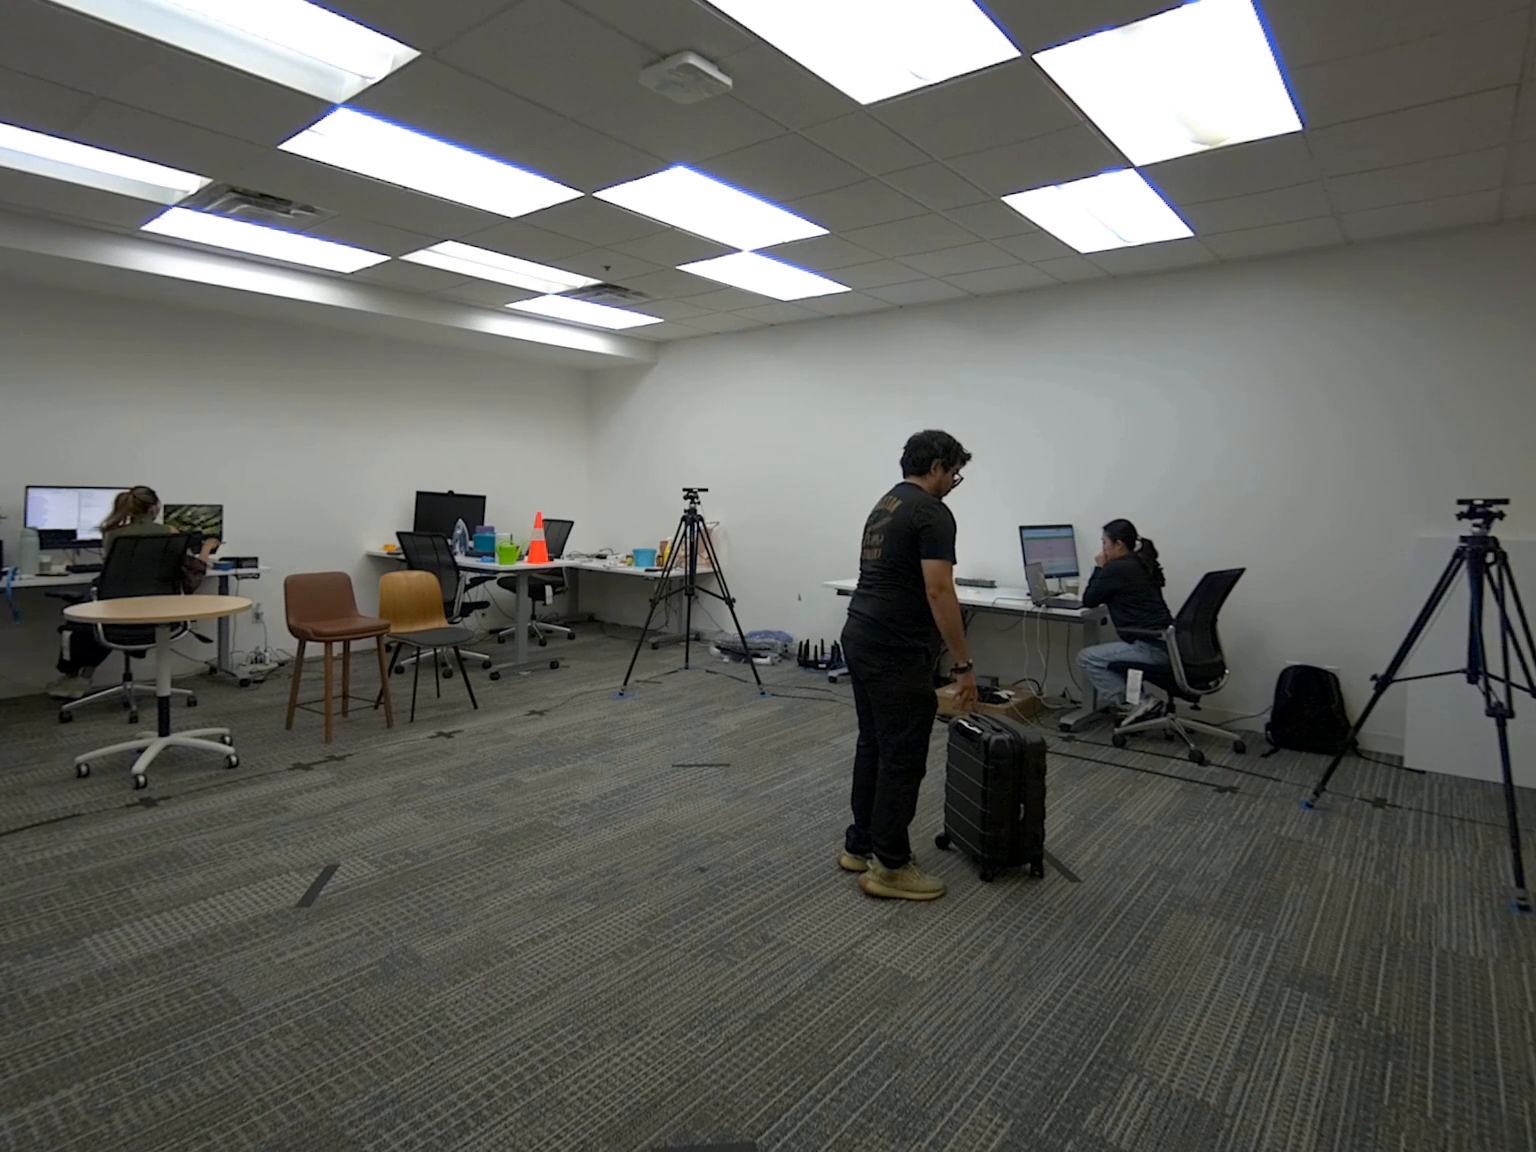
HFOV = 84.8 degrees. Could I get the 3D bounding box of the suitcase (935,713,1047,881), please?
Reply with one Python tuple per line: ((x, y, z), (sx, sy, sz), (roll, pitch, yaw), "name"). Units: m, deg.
((0.845, 0.807, 3.213), (0.245, 0.548, 0.381), (1, 4, -13), "suitcase")
